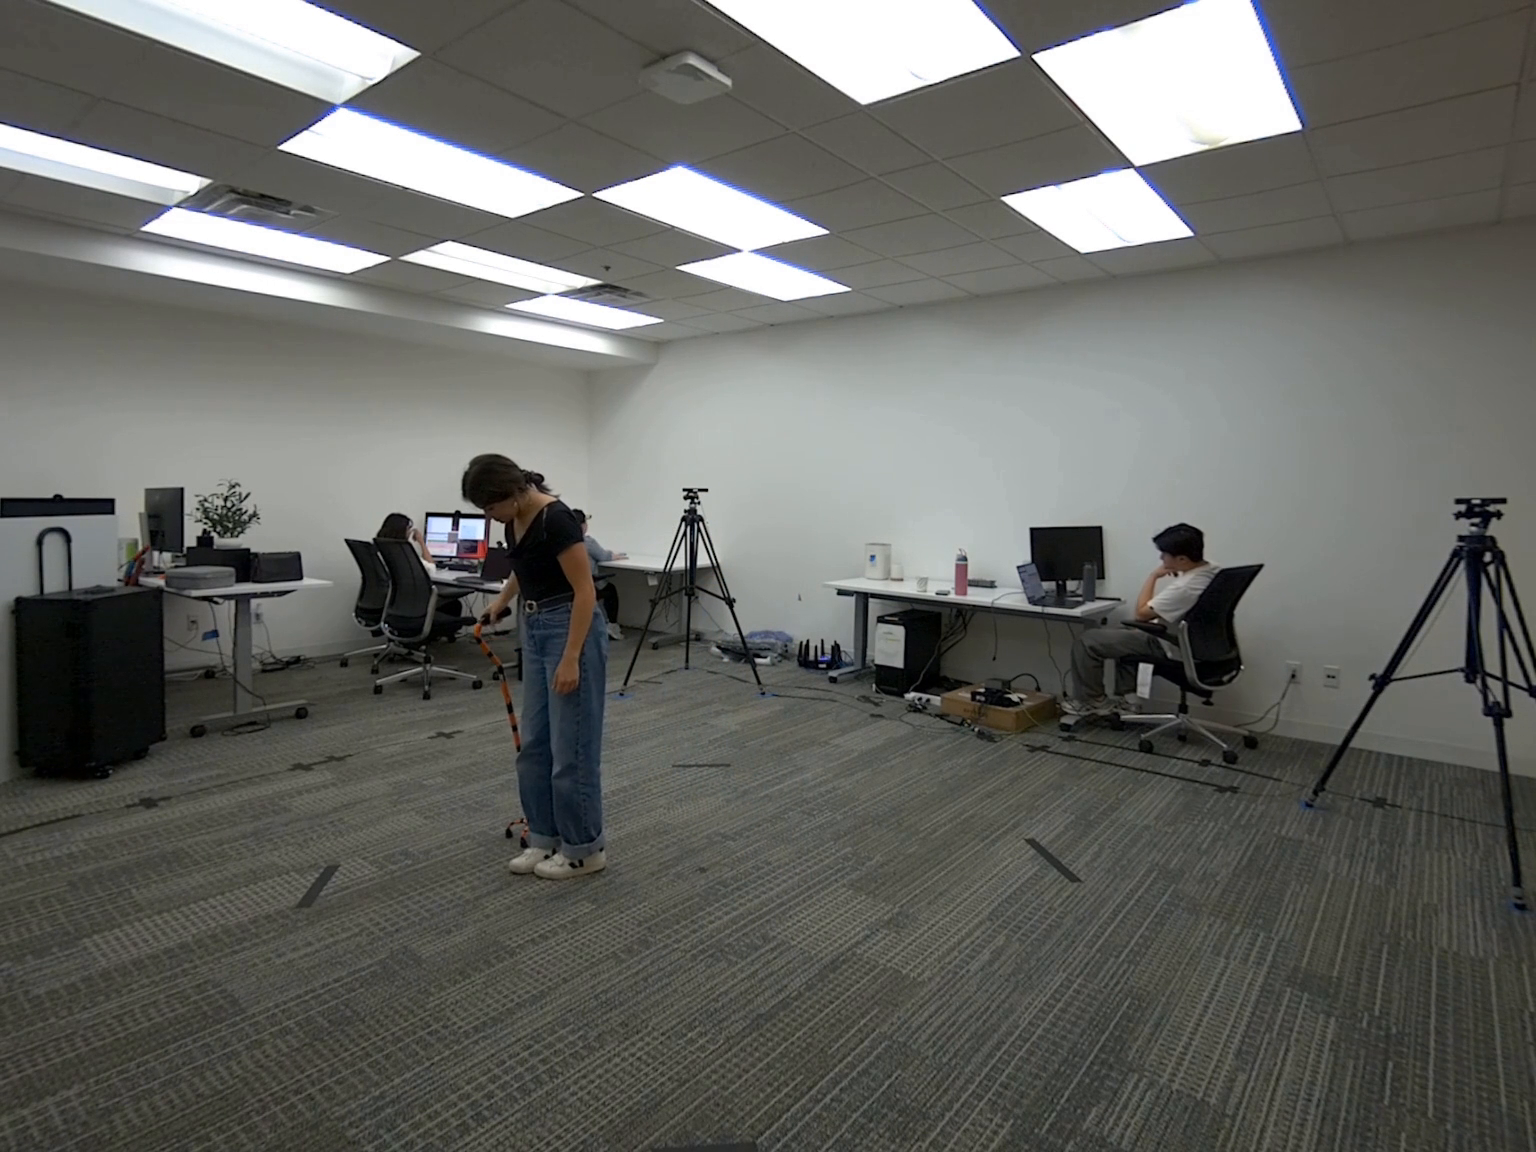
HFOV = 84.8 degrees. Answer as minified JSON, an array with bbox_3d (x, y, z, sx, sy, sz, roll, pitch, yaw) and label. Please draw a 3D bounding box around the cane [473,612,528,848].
[{"bbox_3d":[-1.004,0.578,3.287,0.156,0.895,0.203,1,17,43],"label":"cane"}]
